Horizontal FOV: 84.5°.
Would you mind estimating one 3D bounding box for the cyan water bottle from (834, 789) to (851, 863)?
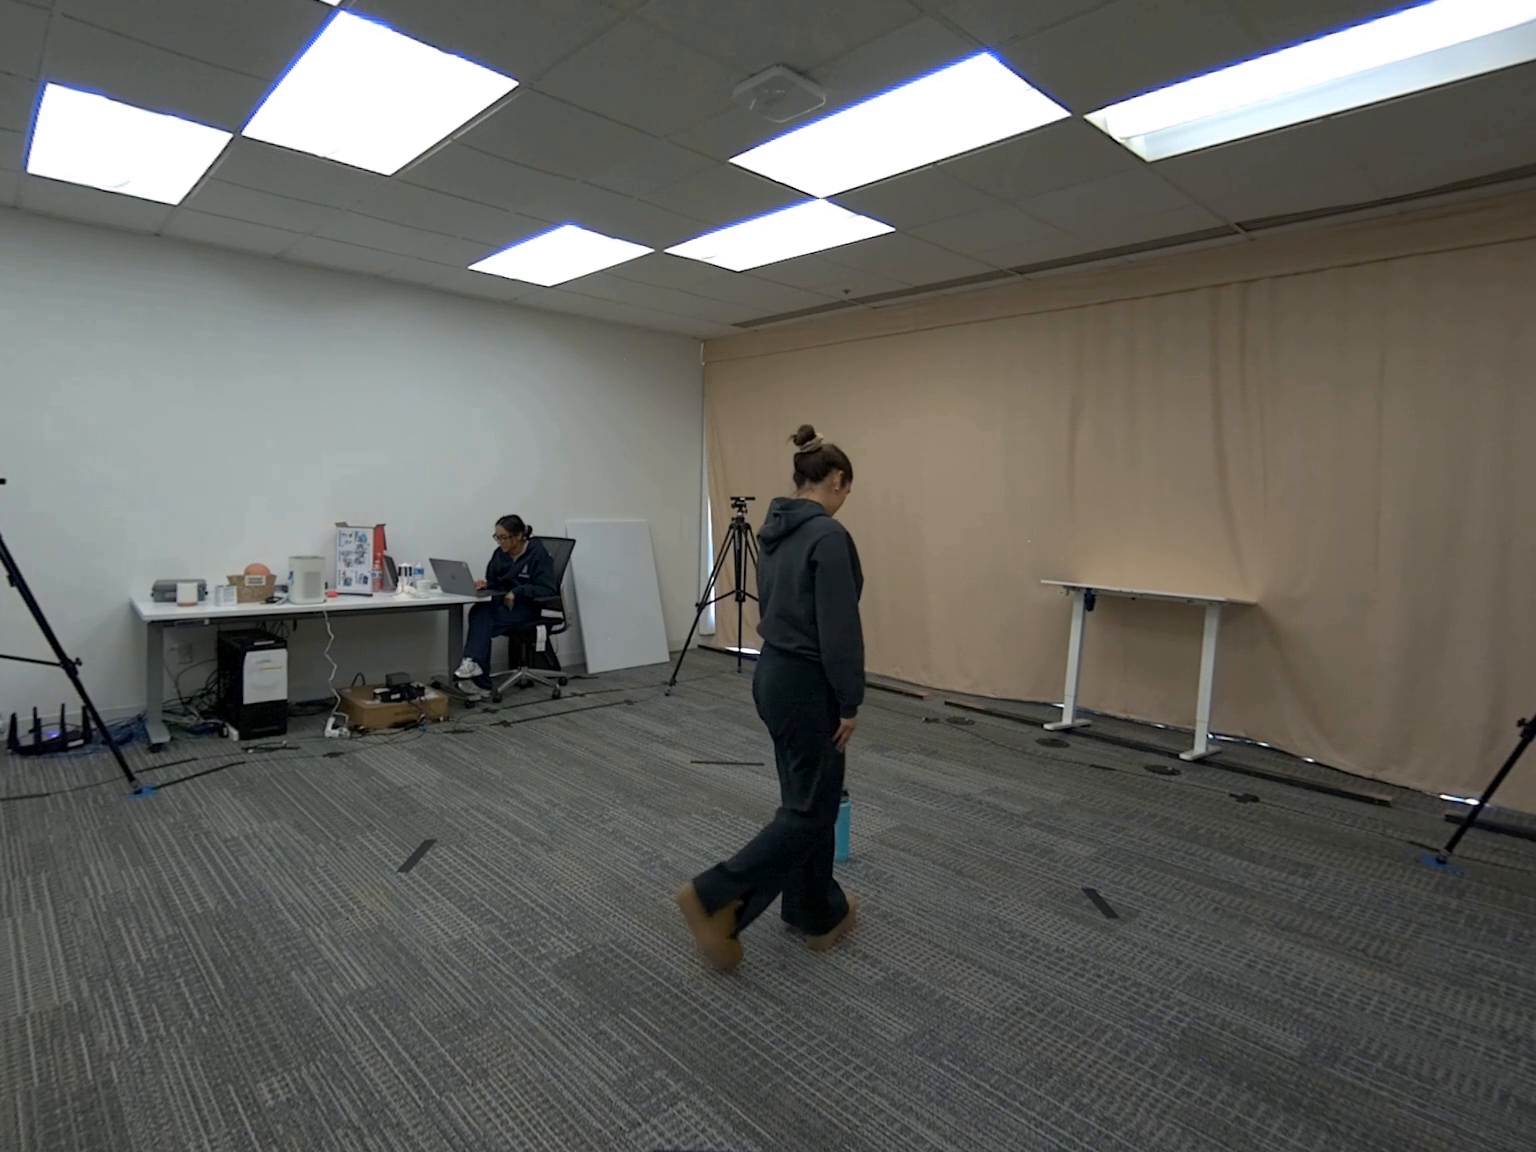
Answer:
[{"bbox_3d":[0.270,0.959,3.298,0.092,0.283,0.092,0,2,-1],"label":"cyan water bottle"}]
